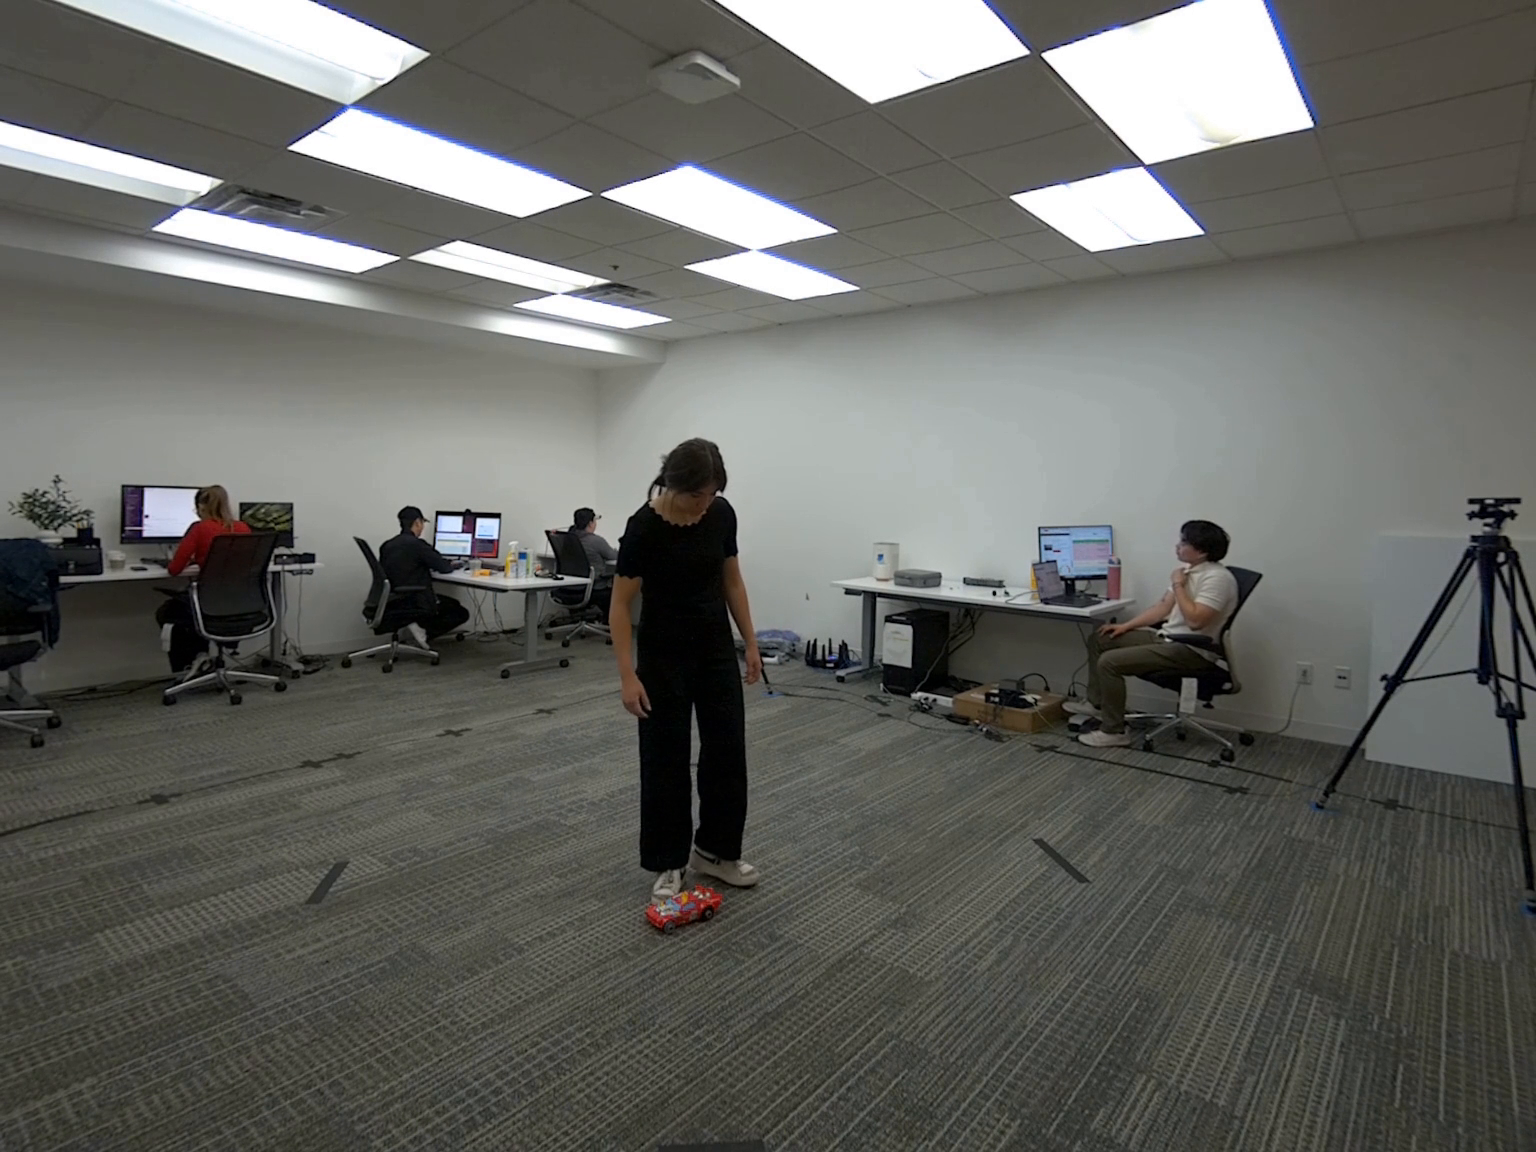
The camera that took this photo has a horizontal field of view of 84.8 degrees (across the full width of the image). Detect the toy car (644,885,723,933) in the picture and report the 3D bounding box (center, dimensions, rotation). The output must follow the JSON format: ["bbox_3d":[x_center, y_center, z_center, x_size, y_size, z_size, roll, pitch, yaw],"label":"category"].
[{"bbox_3d":[-0.271,1.067,2.737,0.249,0.082,0.134,-16,12,-34],"label":"toy car"}]
